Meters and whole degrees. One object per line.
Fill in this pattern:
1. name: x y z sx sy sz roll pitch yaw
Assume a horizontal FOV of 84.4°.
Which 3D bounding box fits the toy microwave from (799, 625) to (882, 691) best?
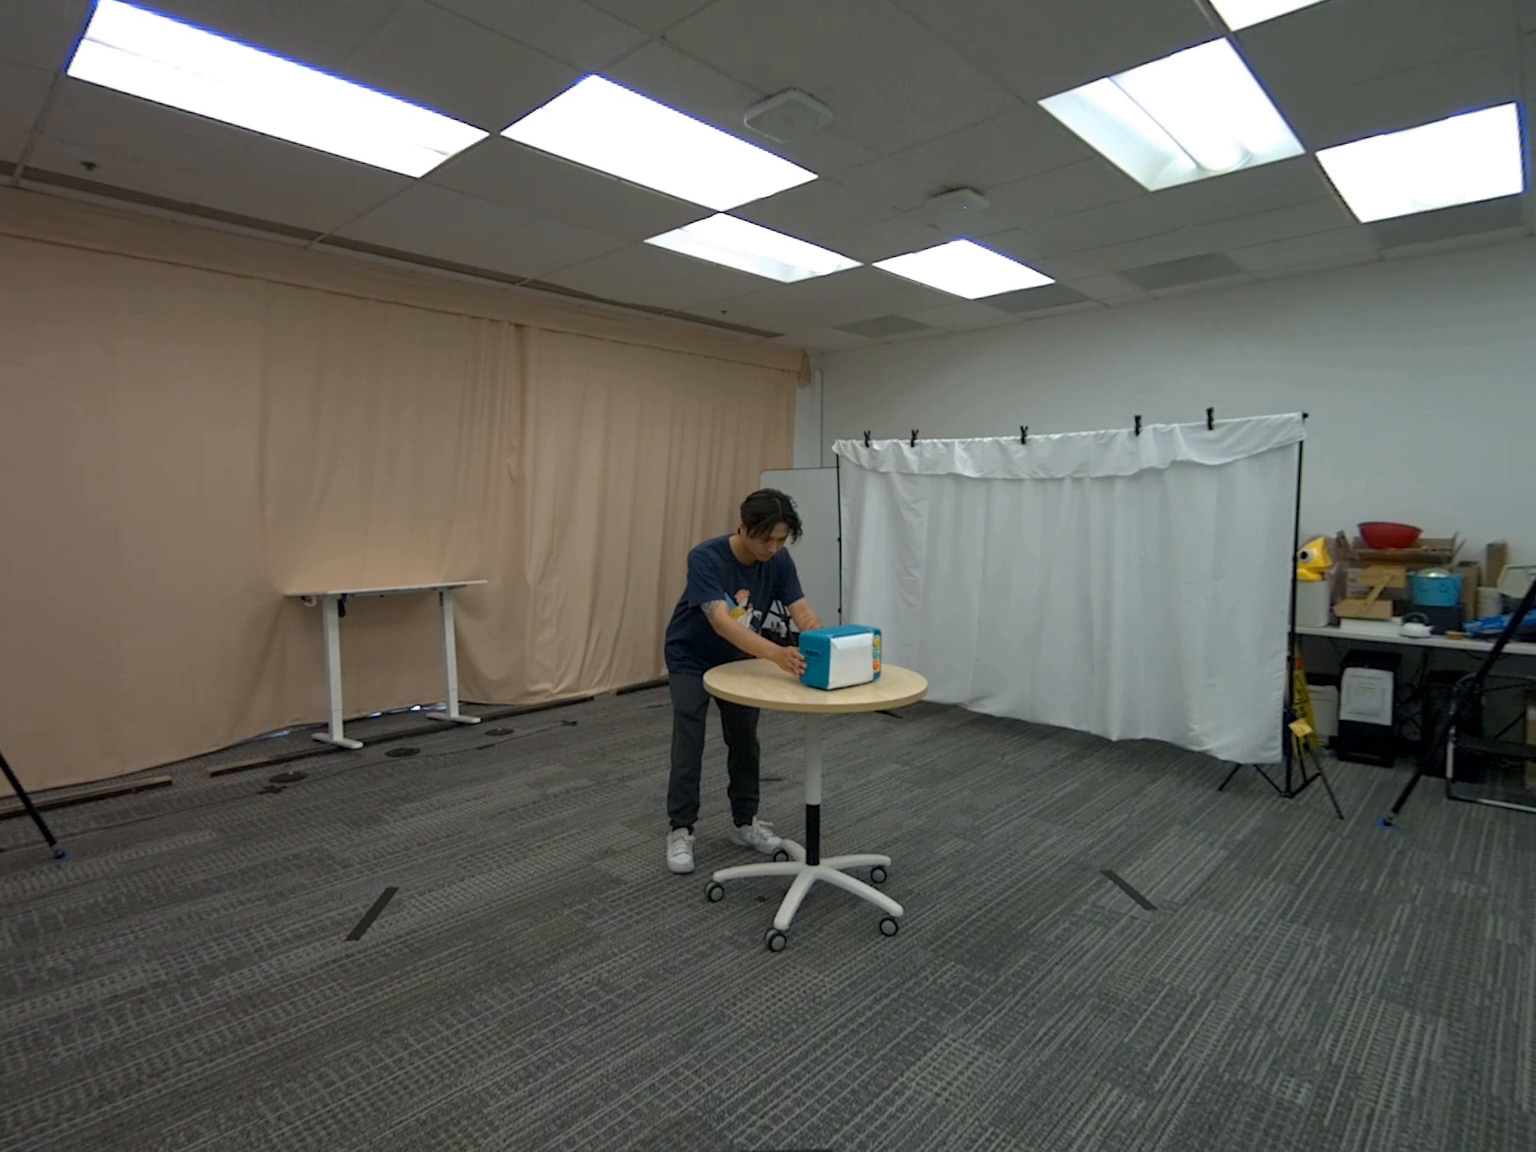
1. toy microwave: 0.256 0.271 2.803 0.277 0.184 0.157 -3 5 -41
